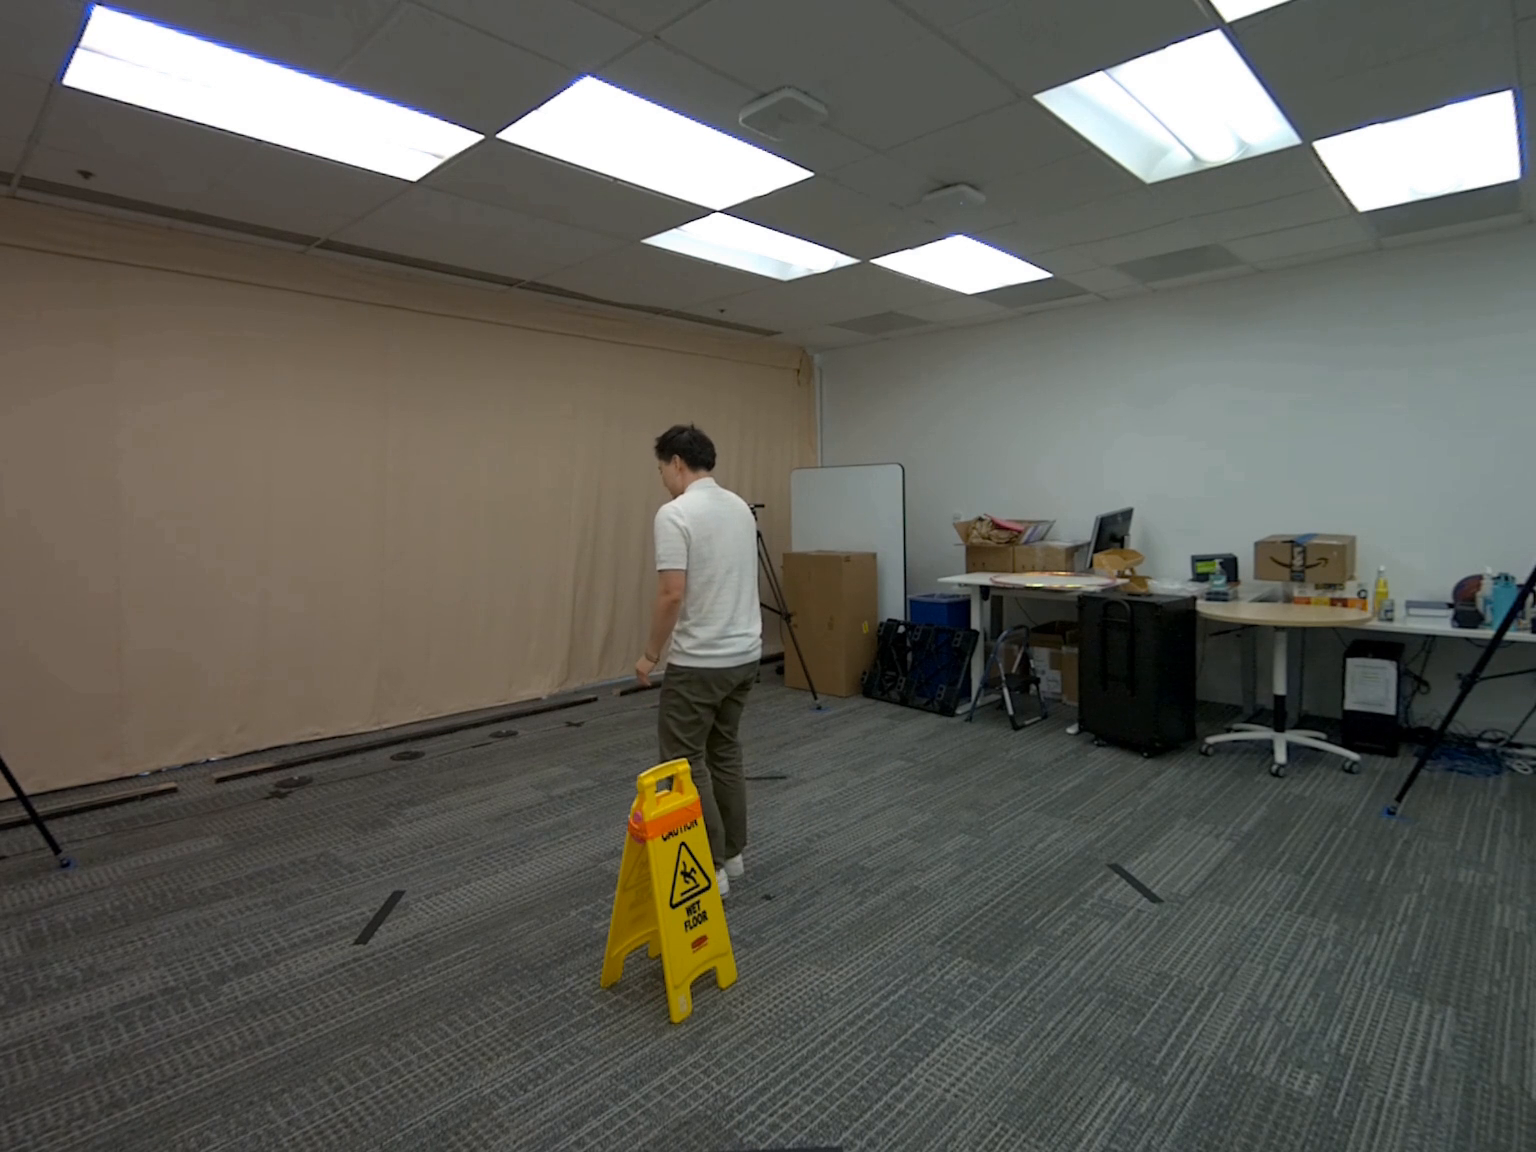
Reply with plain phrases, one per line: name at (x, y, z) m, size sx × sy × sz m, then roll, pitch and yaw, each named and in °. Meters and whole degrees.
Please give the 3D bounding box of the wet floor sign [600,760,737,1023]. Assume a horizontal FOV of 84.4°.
wet floor sign at (-0.297, 0.866, 2.442) m, size 0.299 × 0.645 × 0.274 m, roll 1°, pitch 4°, yaw 37°
